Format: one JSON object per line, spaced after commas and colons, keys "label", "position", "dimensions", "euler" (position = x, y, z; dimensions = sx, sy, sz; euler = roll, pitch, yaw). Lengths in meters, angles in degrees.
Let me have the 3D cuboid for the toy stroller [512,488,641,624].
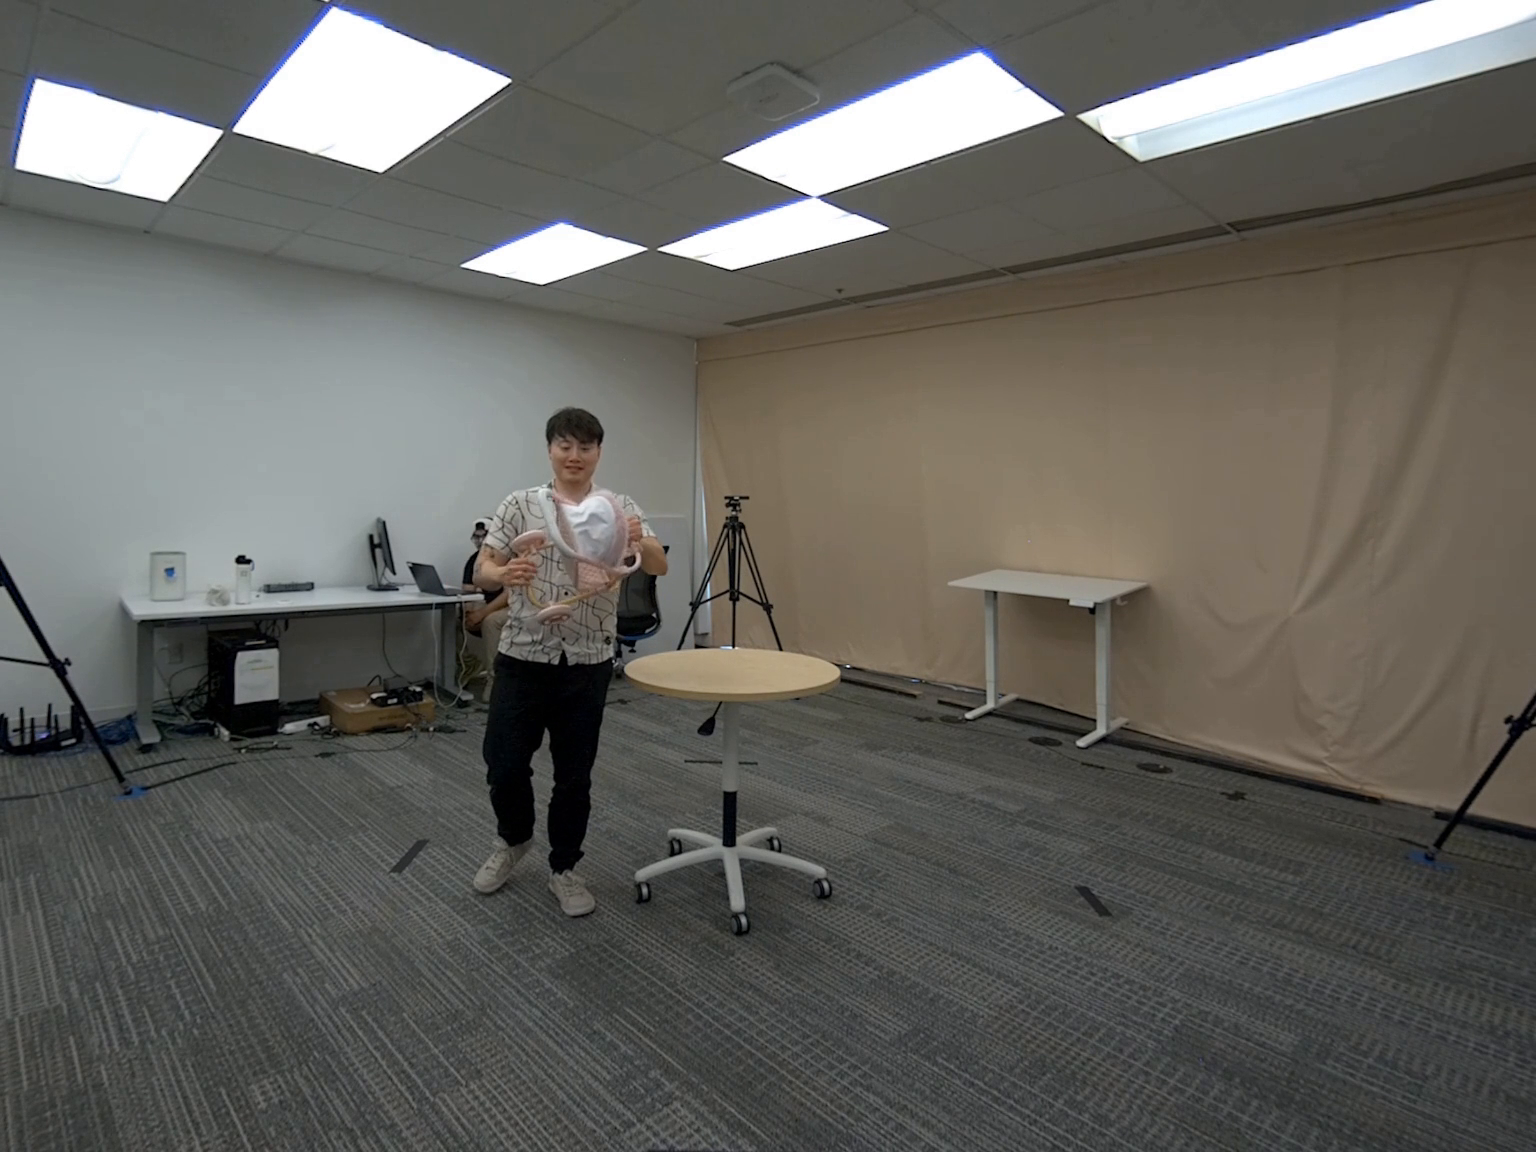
{"label": "toy stroller", "position": [-0.534, -0.065, 2.440], "dimensions": [0.336, 0.286, 0.534], "euler": [-11, -20, -29]}
